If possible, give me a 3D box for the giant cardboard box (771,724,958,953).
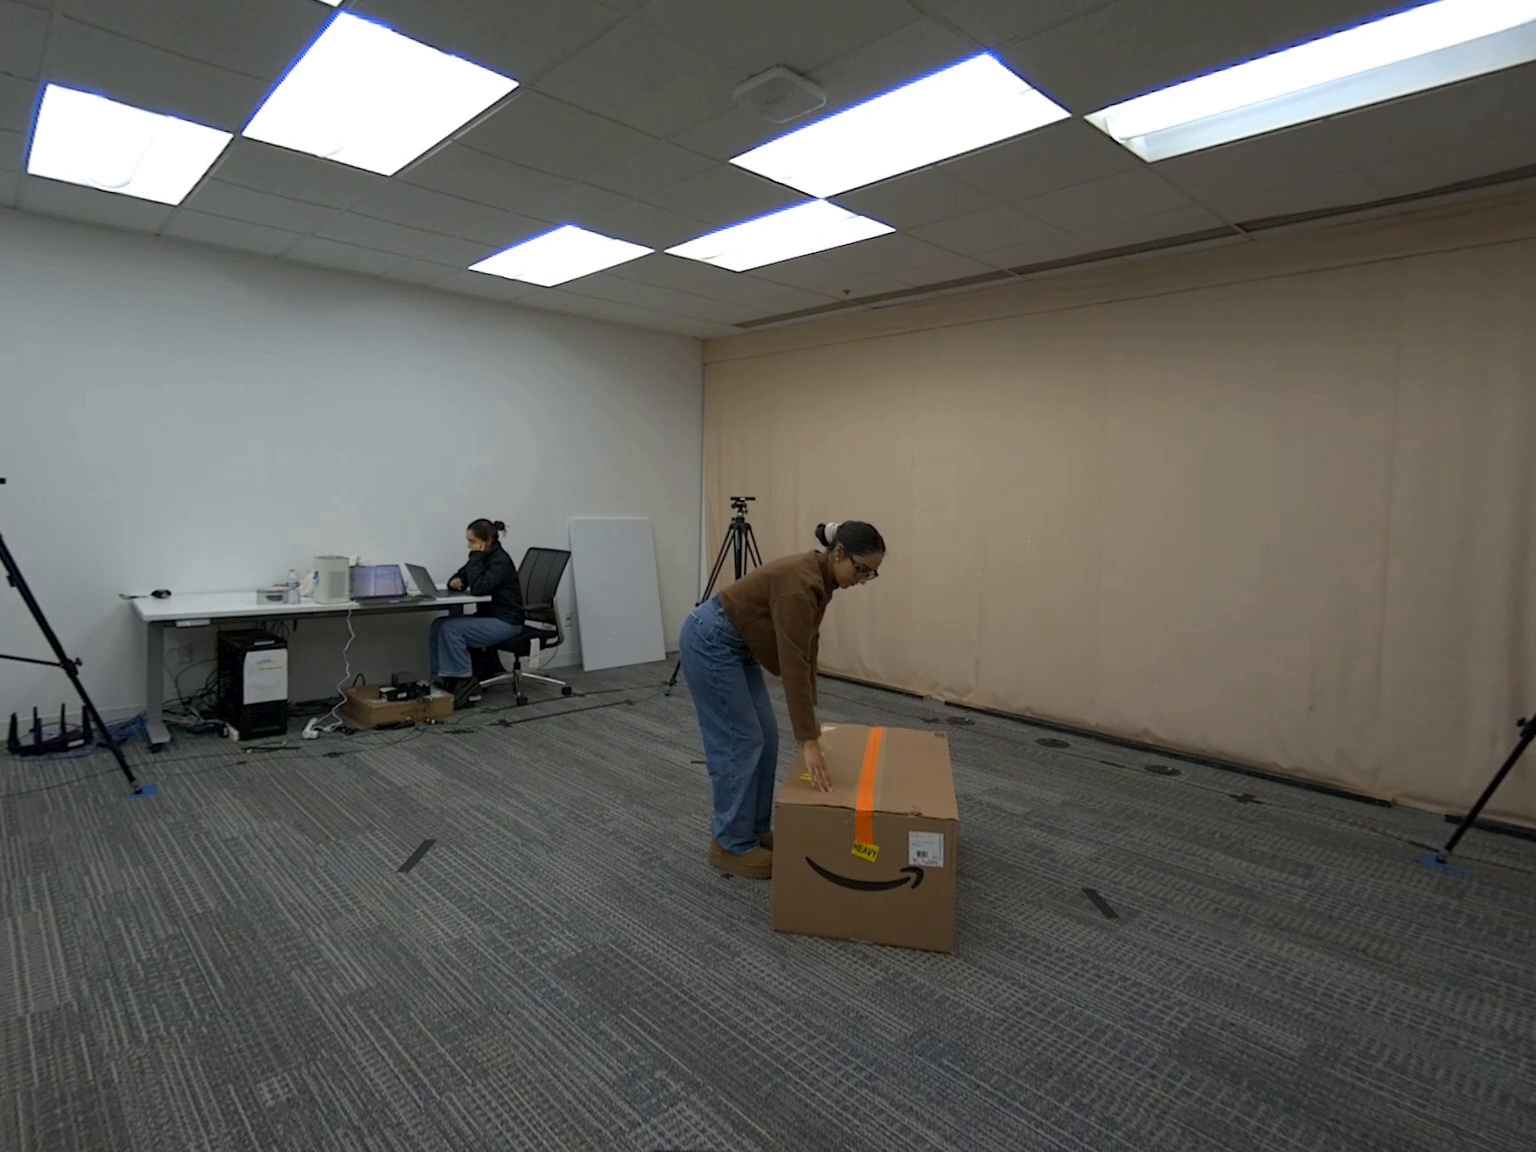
[{"bbox_3d":[0.381,0.901,3.140,0.582,0.425,1.020,1,5,10],"label":"giant cardboard box"}]
